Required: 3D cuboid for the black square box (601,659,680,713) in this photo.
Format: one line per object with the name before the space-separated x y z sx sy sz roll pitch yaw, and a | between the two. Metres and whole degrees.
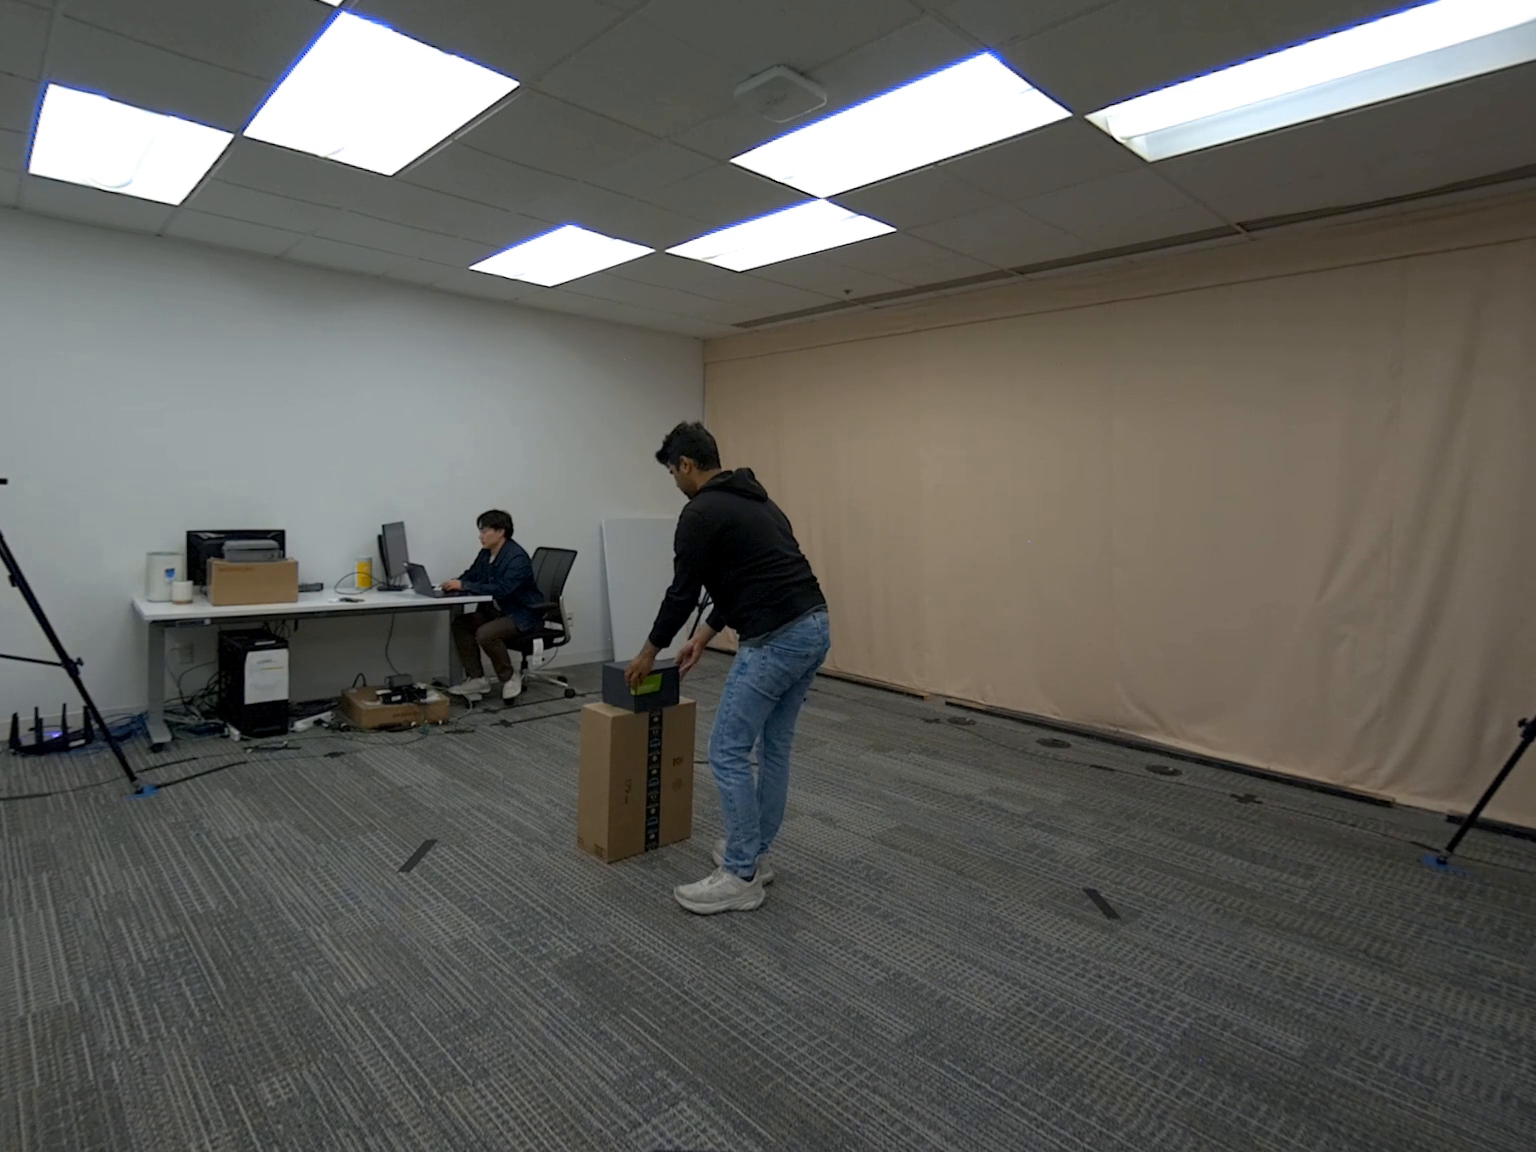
black square box | -0.512 0.429 3.360 0.222 0.155 0.223 7 7 43
